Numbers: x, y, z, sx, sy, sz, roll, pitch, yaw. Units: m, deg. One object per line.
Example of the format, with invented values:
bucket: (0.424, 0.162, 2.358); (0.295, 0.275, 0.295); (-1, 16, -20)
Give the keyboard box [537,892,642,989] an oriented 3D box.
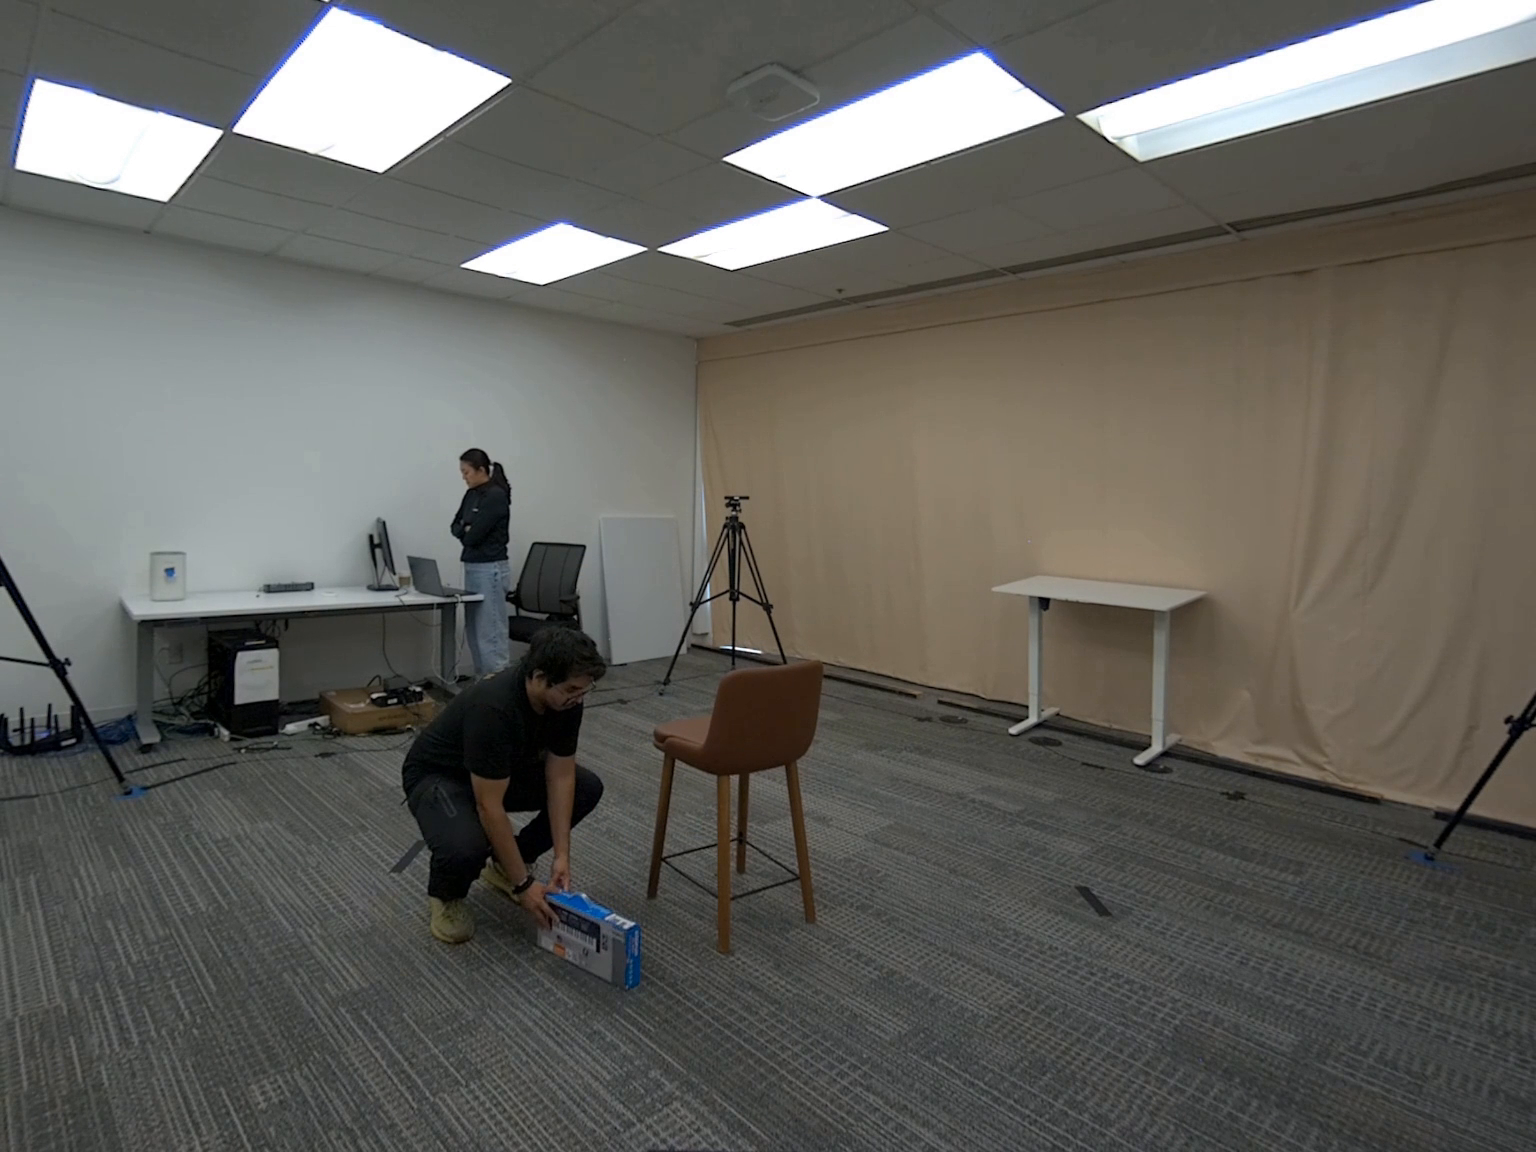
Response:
keyboard box: (-0.571, 1.067, 2.492); (0.447, 0.175, 0.058); (4, 4, 38)
